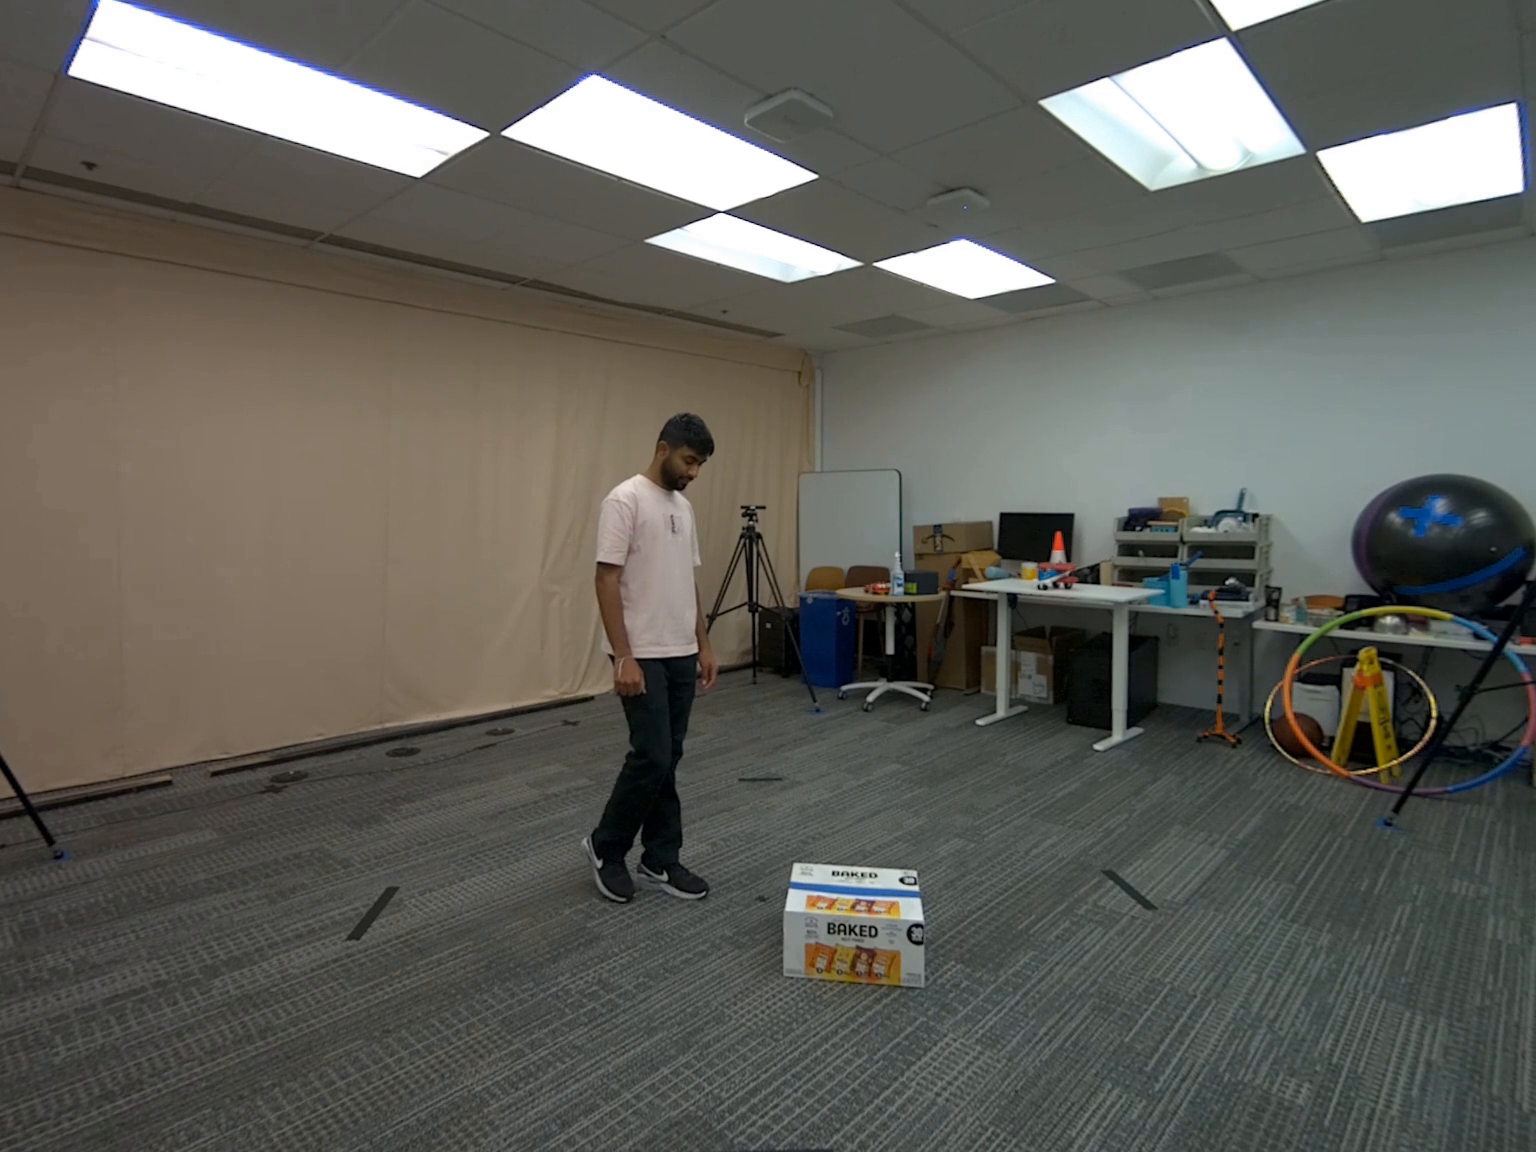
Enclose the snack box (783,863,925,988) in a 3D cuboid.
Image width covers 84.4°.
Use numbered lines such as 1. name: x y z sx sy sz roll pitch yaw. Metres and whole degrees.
1. snack box: 0.271 1.075 2.604 0.409 0.205 0.338 0 4 8
